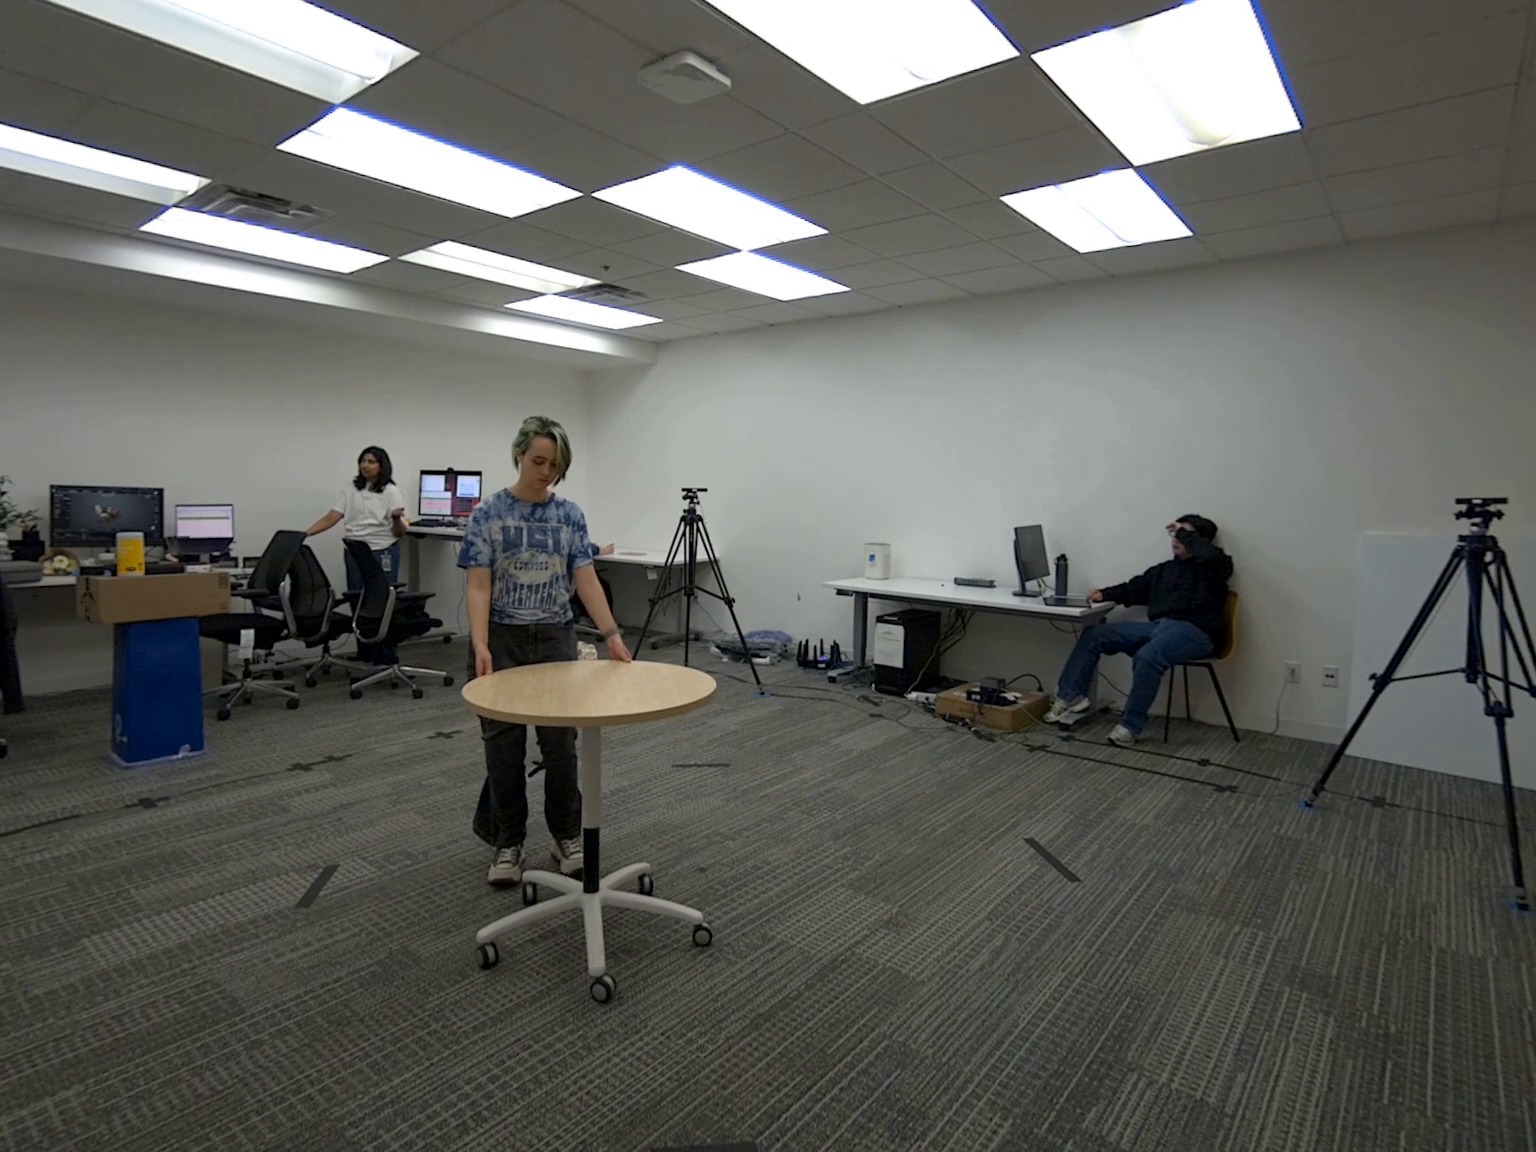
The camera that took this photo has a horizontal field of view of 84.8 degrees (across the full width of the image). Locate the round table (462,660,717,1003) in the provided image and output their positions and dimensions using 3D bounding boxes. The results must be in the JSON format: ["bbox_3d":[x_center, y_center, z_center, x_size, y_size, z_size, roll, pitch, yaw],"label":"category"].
[{"bbox_3d":[-0.543,0.723,2.621,0.763,0.791,0.767,0,4,-2],"label":"round table"}]
